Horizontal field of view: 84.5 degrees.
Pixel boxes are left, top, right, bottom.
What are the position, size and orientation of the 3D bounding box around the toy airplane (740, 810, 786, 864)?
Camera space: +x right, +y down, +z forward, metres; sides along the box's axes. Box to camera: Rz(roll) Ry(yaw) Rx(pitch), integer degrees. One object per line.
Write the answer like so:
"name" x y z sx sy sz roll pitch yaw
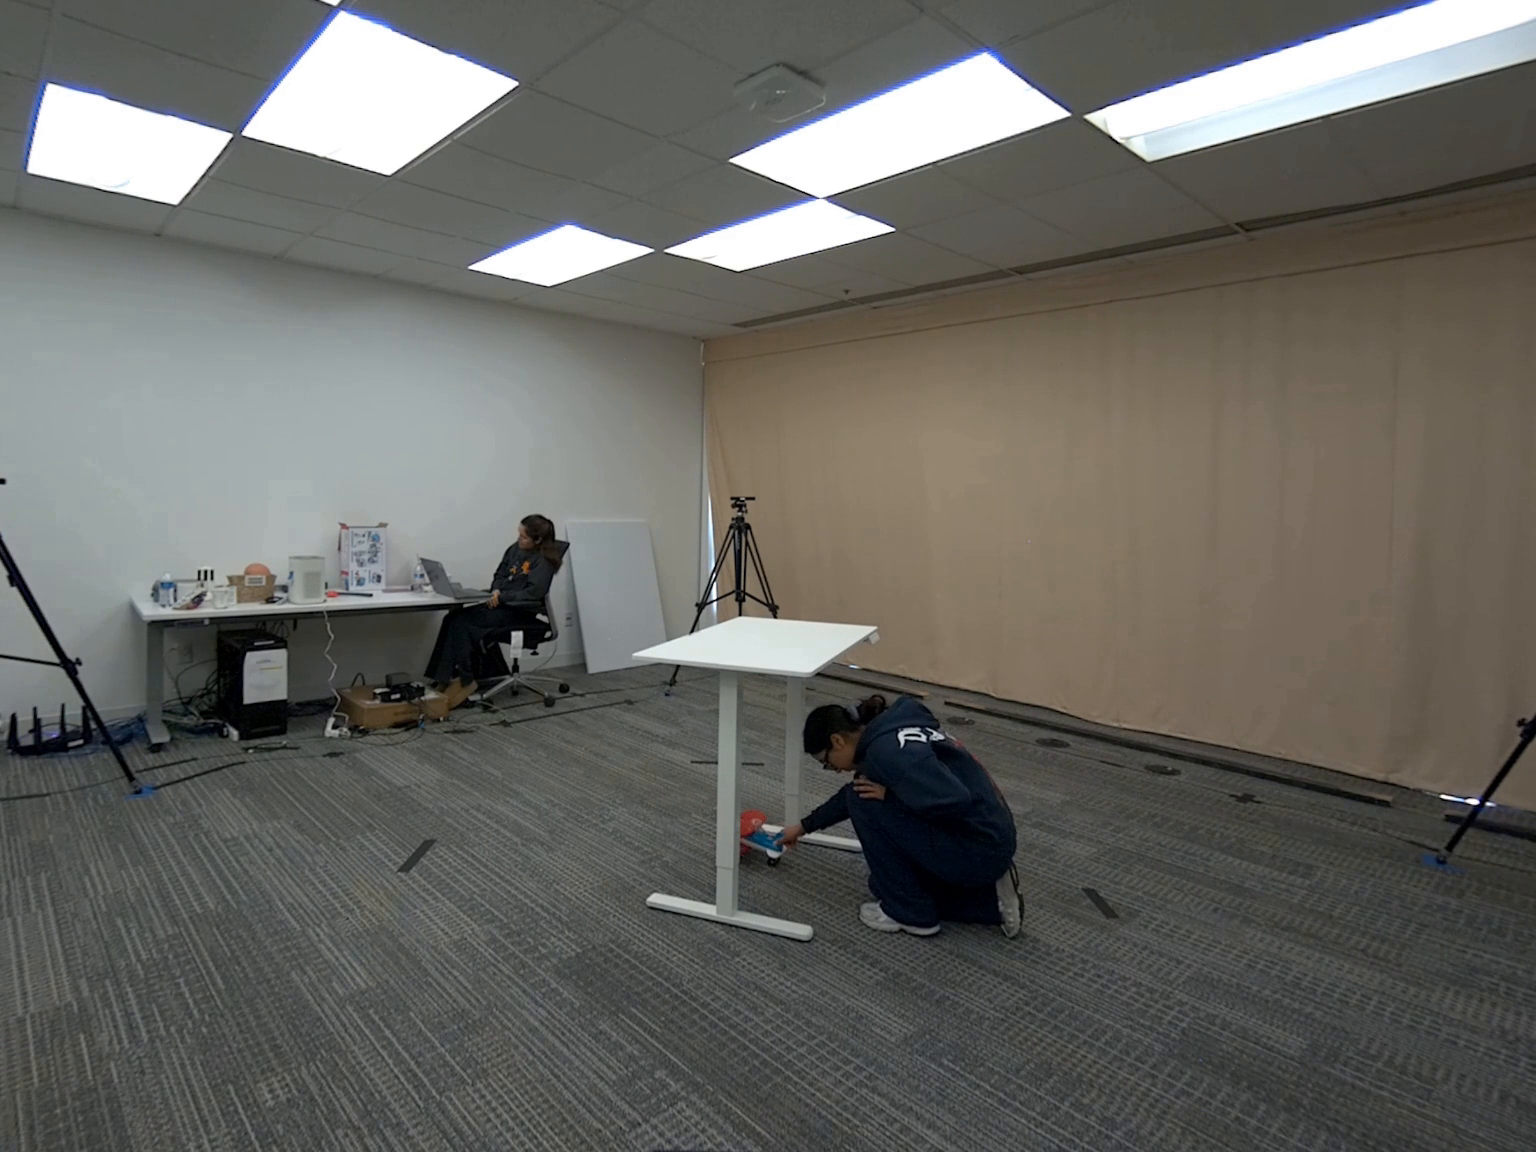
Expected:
"toy airplane" -0.069 1.019 3.279 0.258 0.156 0.253 0 6 -3
